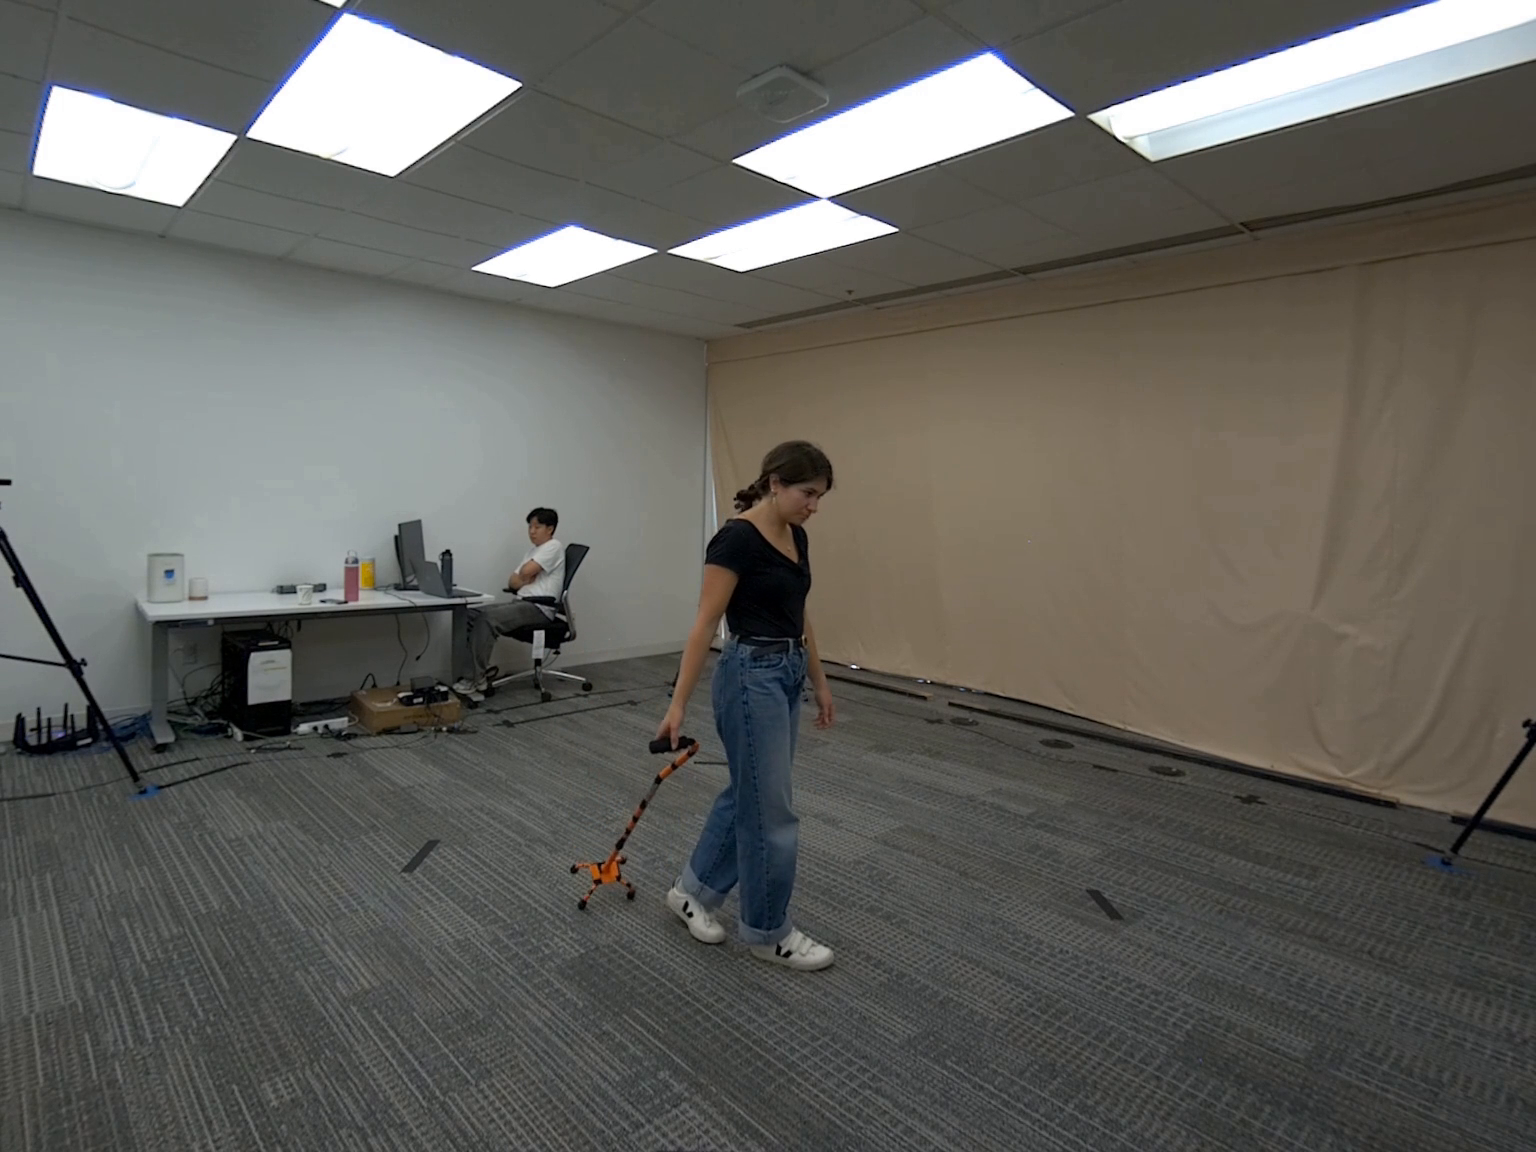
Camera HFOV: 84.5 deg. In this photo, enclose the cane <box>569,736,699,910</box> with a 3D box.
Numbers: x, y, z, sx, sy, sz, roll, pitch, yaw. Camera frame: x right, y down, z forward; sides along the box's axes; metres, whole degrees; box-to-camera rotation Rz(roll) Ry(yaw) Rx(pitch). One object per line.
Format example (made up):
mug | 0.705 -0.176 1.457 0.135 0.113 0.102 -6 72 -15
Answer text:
cane | -0.412 0.767 2.617 0.202 0.156 0.900 -2 -41 -31
